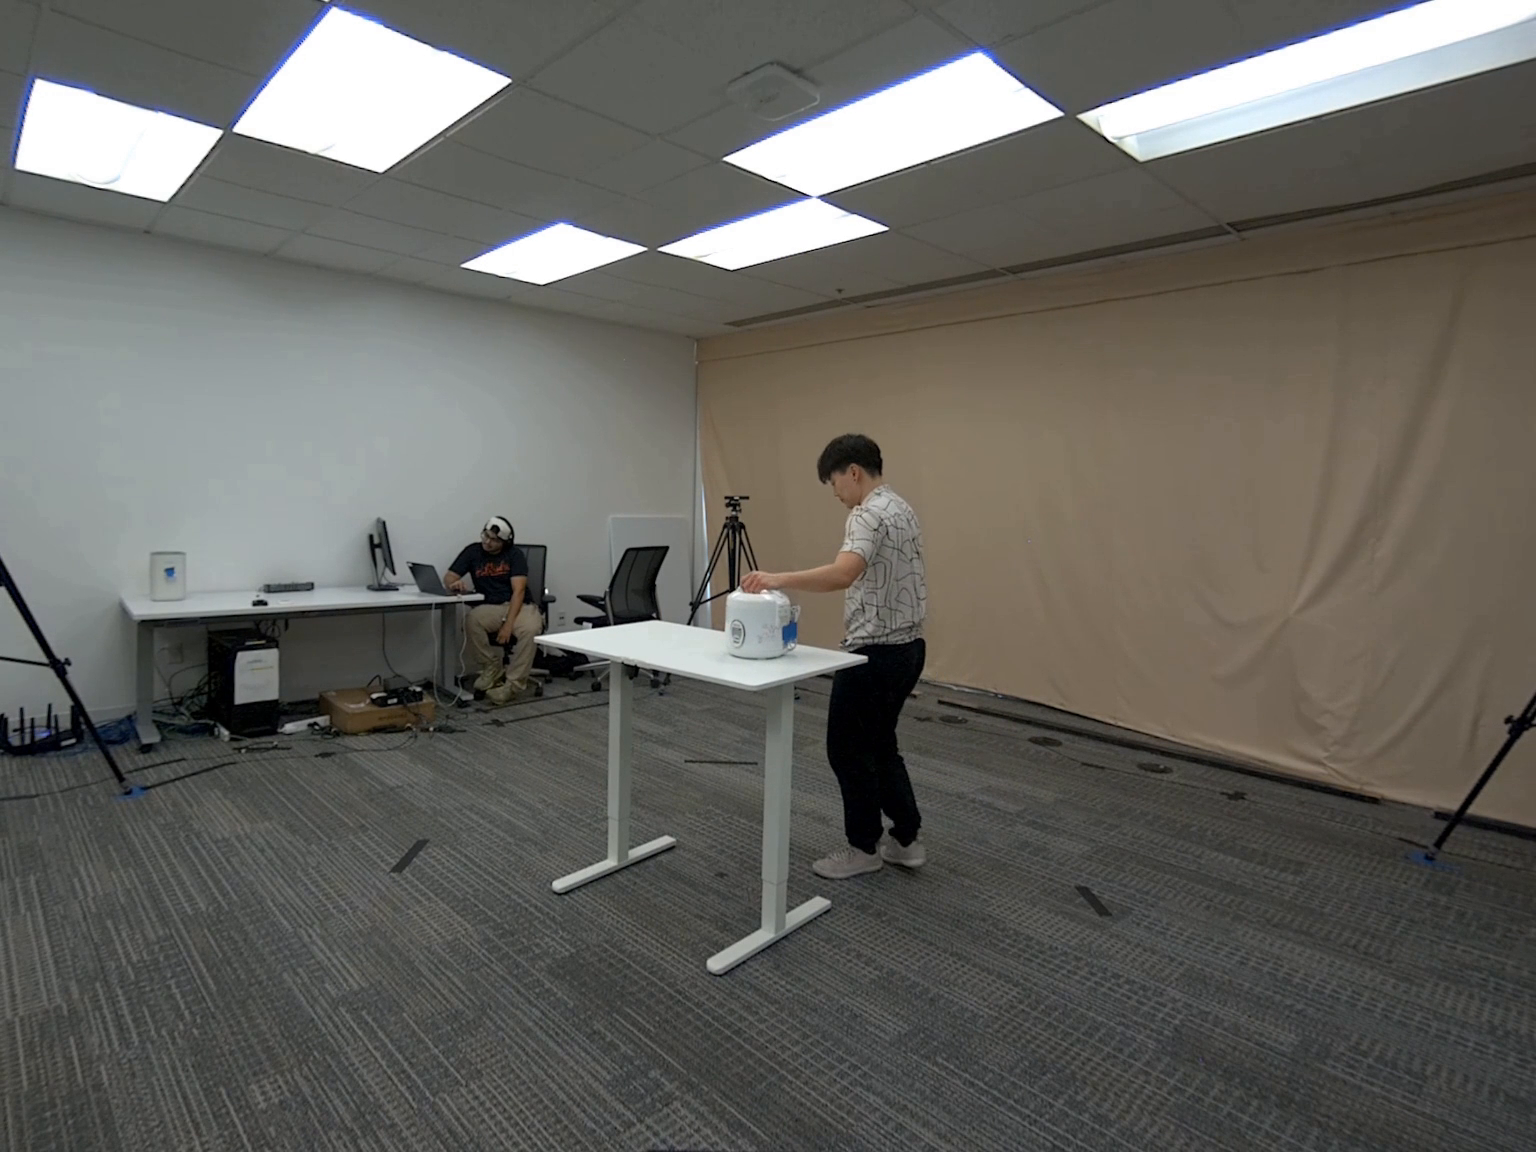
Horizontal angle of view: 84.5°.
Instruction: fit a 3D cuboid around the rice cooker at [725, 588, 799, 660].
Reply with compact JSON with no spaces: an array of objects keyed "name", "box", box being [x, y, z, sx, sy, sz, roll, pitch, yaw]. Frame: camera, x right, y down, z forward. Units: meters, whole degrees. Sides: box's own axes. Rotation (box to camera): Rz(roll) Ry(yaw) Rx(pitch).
[{"name":"rice cooker","box":[-0.038,0.143,2.731,0.226,0.232,0.213,5,5,36]}]
